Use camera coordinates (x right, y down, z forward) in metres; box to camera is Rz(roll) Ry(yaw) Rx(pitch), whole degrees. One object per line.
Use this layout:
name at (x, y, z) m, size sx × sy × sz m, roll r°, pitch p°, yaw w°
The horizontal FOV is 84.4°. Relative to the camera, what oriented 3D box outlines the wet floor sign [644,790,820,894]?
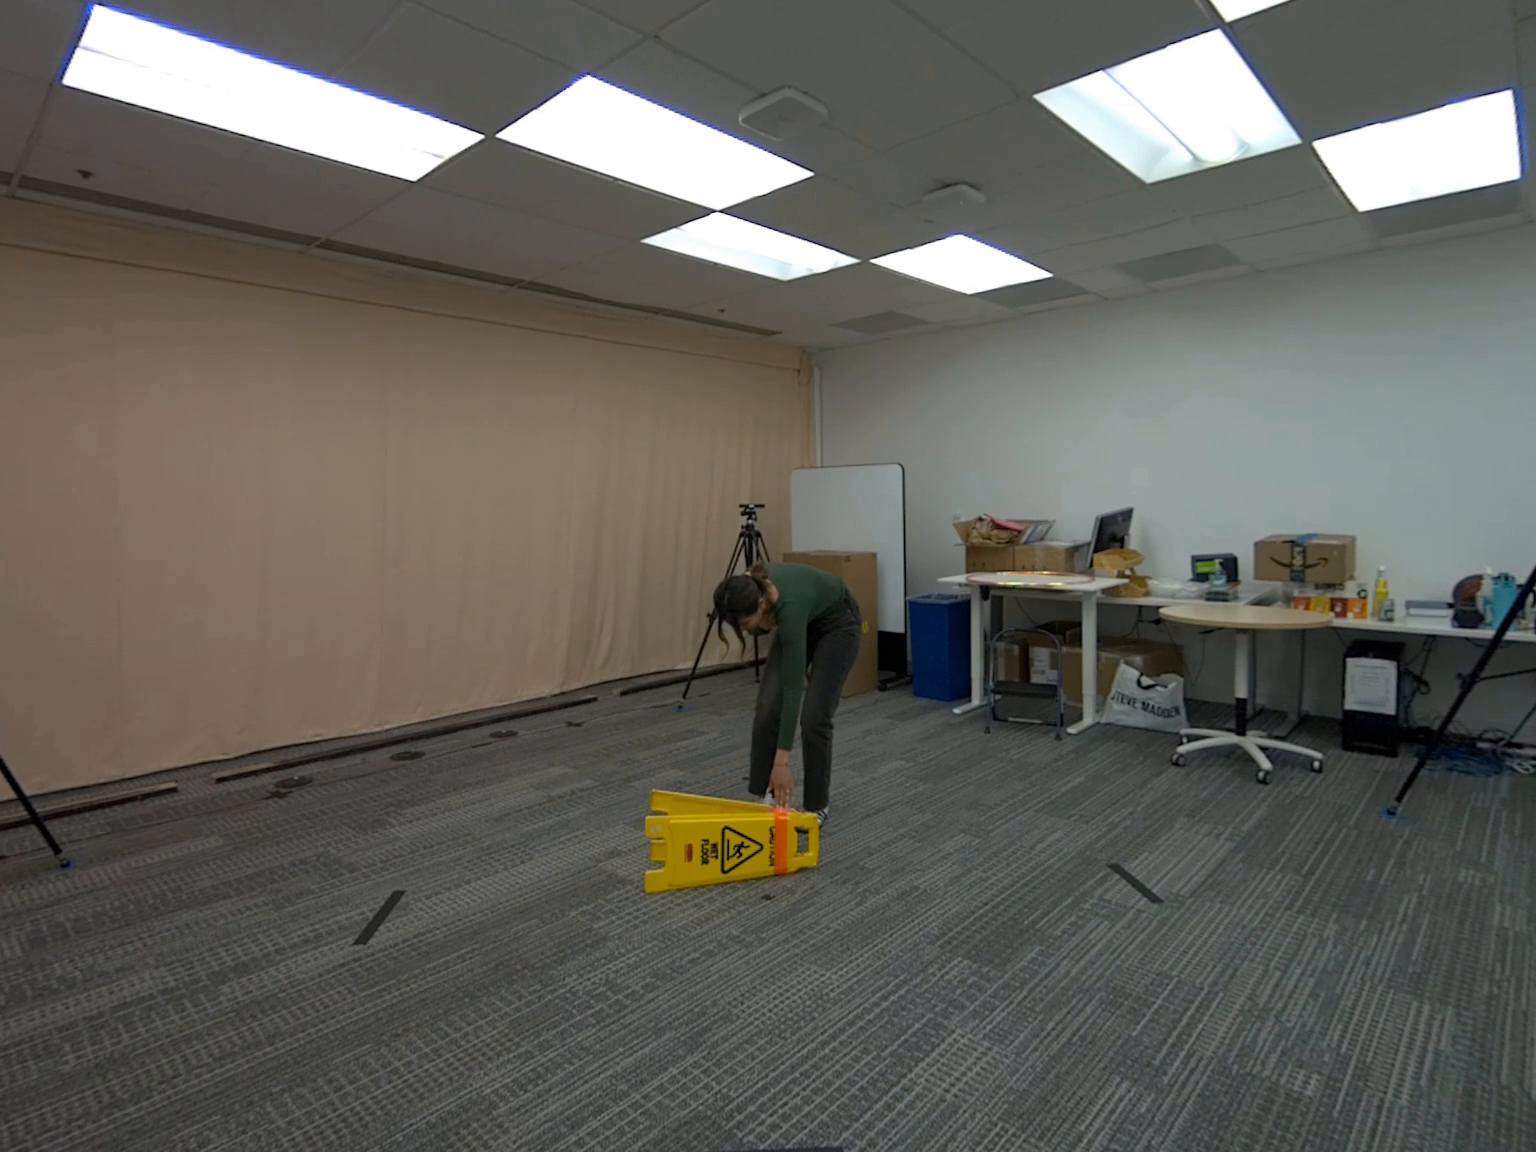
wet floor sign at (-0.128, 0.992, 3.179) m, size 0.645 × 0.282 × 0.291 m, roll 1°, pitch 4°, yaw -1°
